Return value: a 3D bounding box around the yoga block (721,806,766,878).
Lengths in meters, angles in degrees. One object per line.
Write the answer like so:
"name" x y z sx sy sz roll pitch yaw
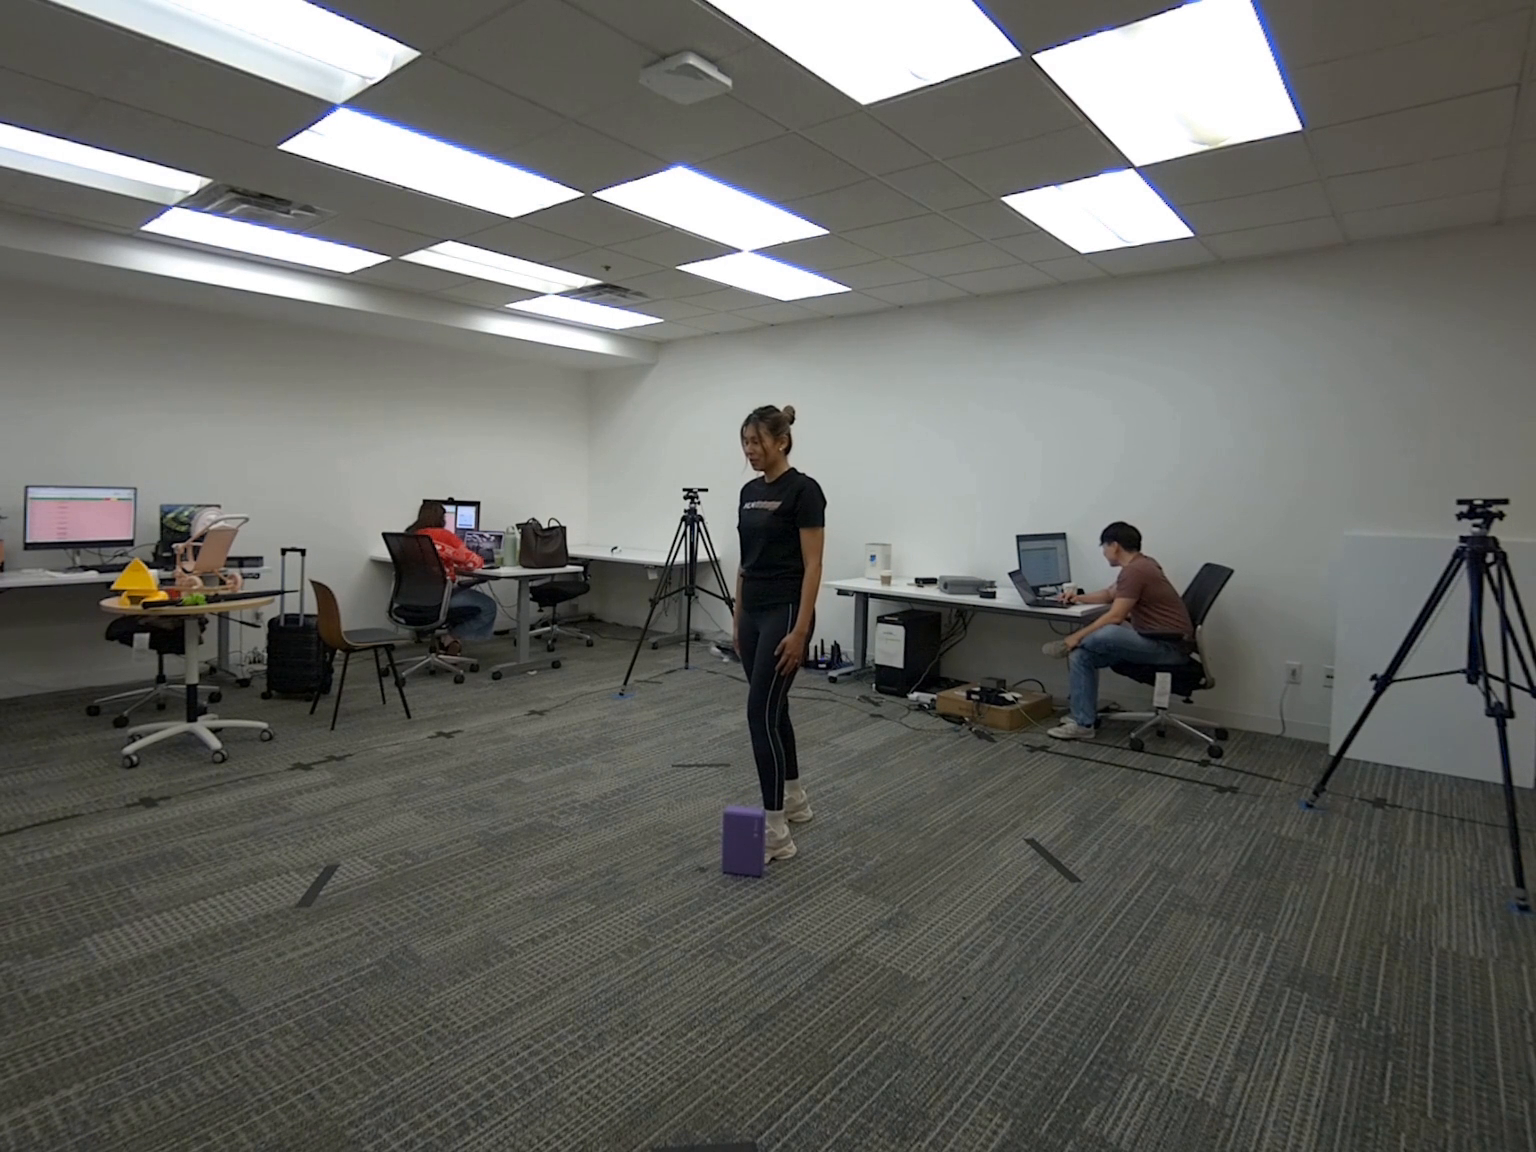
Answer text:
"yoga block" -0.097 0.959 3.088 0.151 0.229 0.076 2 3 10
